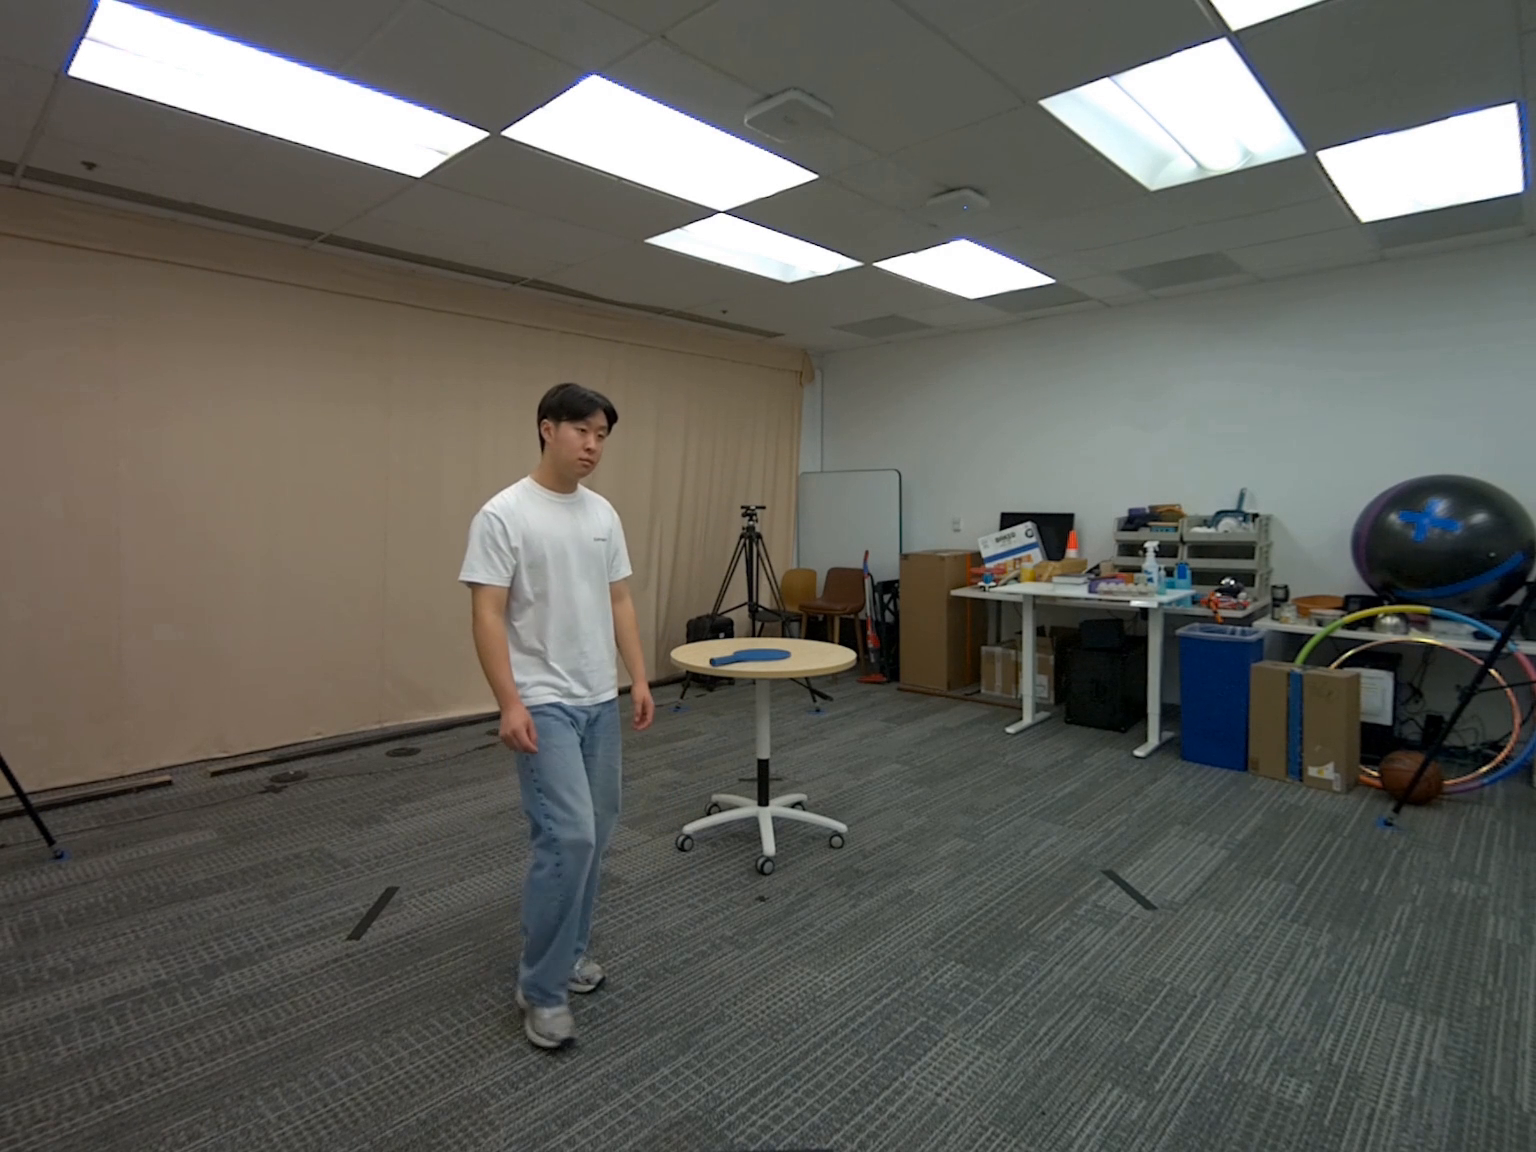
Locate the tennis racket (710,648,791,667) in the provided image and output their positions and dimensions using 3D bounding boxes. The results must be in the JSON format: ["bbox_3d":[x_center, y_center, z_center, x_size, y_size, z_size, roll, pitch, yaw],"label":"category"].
[{"bbox_3d":[-0.080,0.322,3.350,0.221,0.032,0.419,4,5,42],"label":"tennis racket"}]
